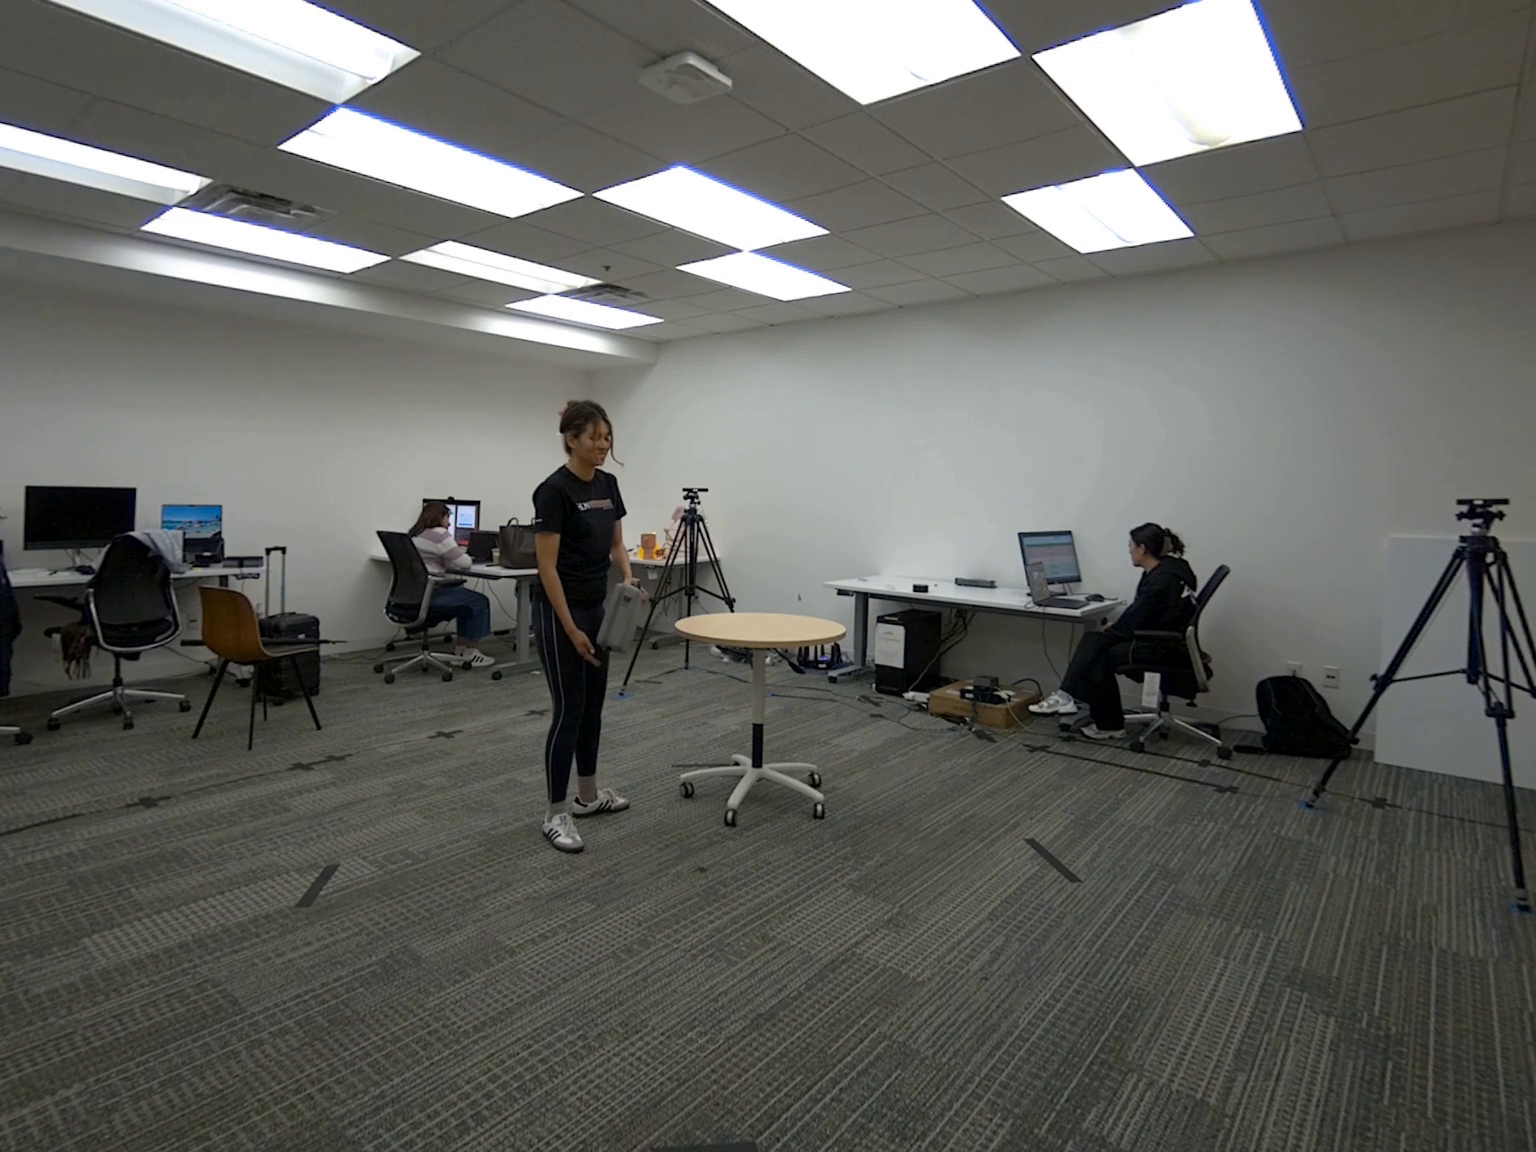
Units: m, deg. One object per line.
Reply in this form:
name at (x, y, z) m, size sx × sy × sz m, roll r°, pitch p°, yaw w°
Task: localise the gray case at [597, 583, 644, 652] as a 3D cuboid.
gray case at (-0.590, 0.170, 3.303) m, size 0.104 × 0.262 × 0.255 m, roll 16°, pitch -7°, yaw -1°
